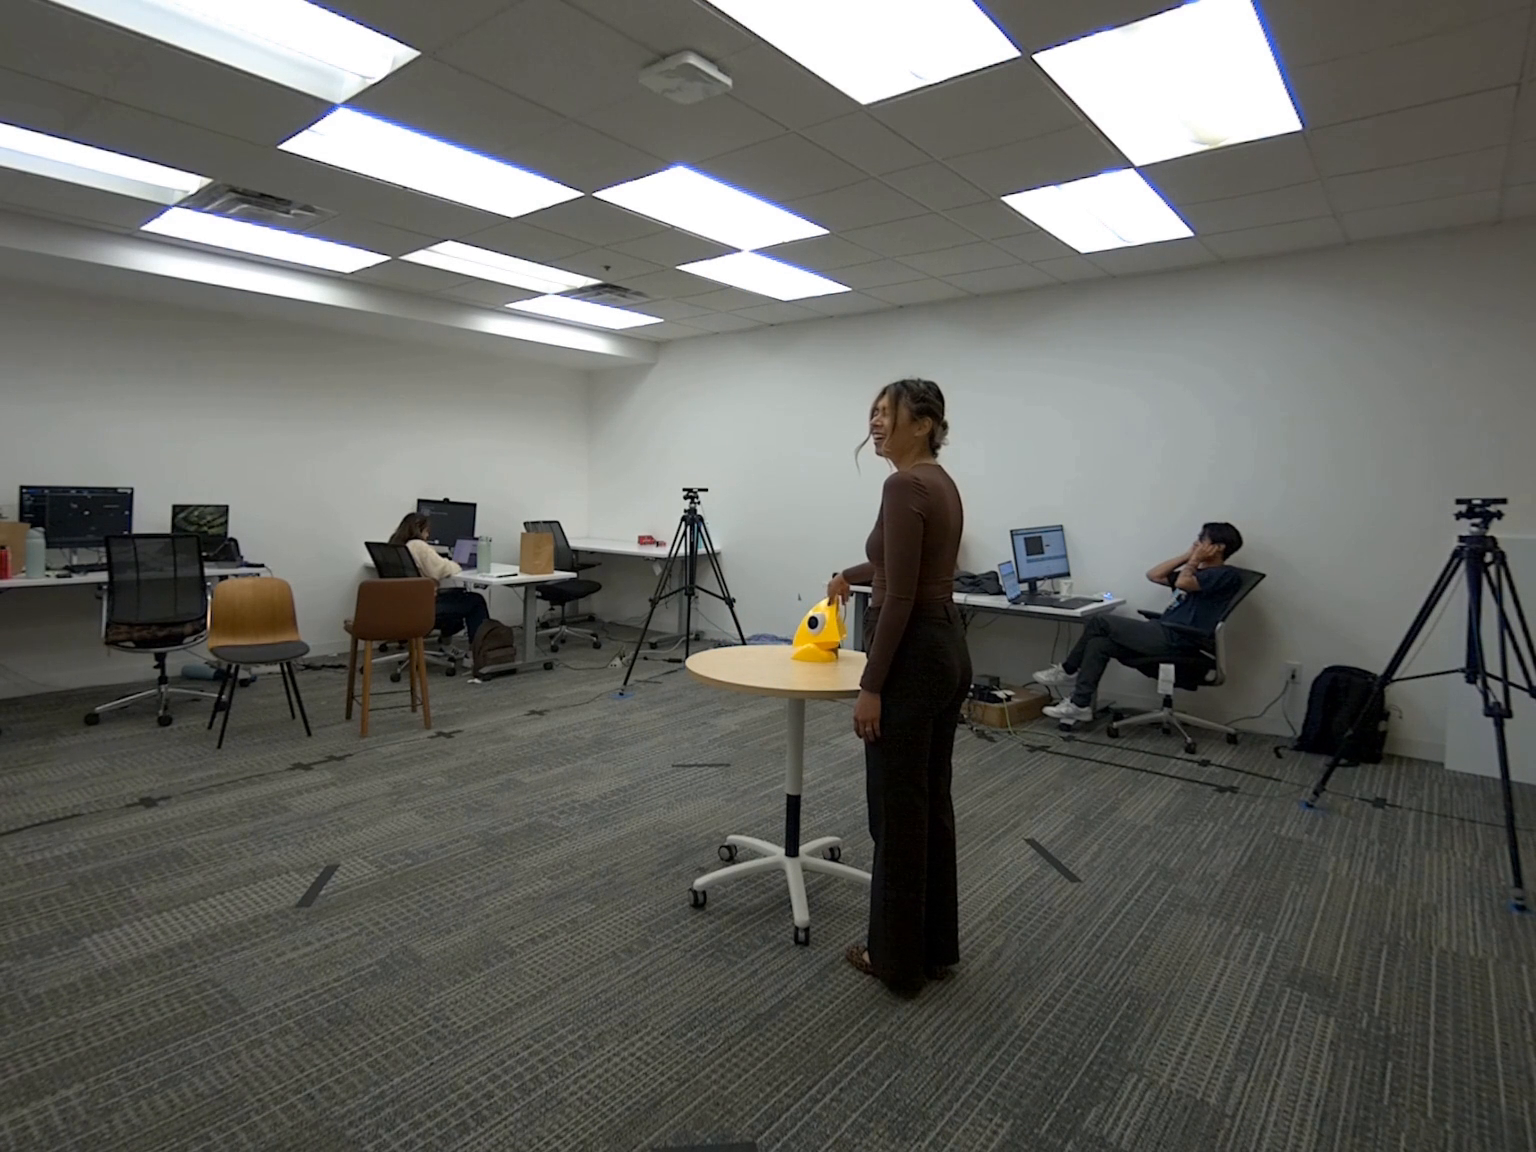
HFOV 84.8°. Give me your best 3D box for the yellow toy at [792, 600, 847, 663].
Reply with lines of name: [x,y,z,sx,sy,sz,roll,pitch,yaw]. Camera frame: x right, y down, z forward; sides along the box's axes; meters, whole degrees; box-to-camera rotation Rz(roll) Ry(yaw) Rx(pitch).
yellow toy: [0.180,0.174,3.048,0.196,0.230,0.202,4,3,13]
